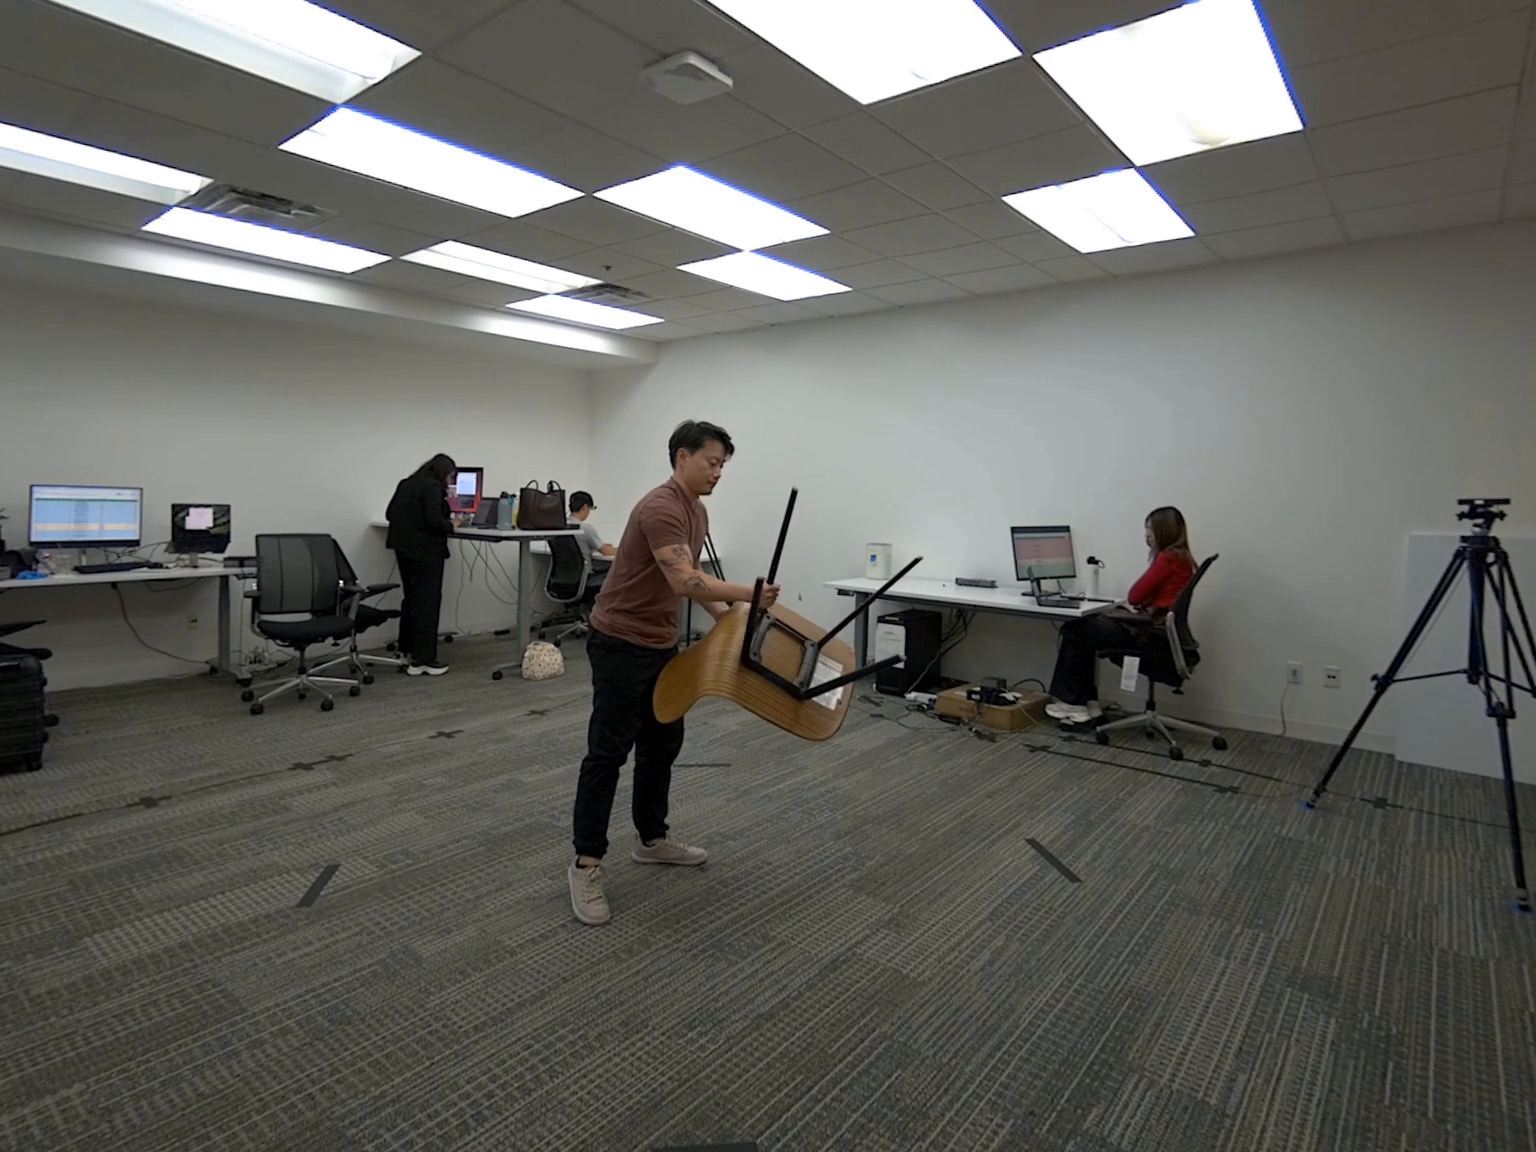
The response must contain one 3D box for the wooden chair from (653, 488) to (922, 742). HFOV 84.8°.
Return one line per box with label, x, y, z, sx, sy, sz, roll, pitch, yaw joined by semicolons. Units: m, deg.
wooden chair;0.039;0.234;2.716;0.518;0.874;0.485;32;40;-8
